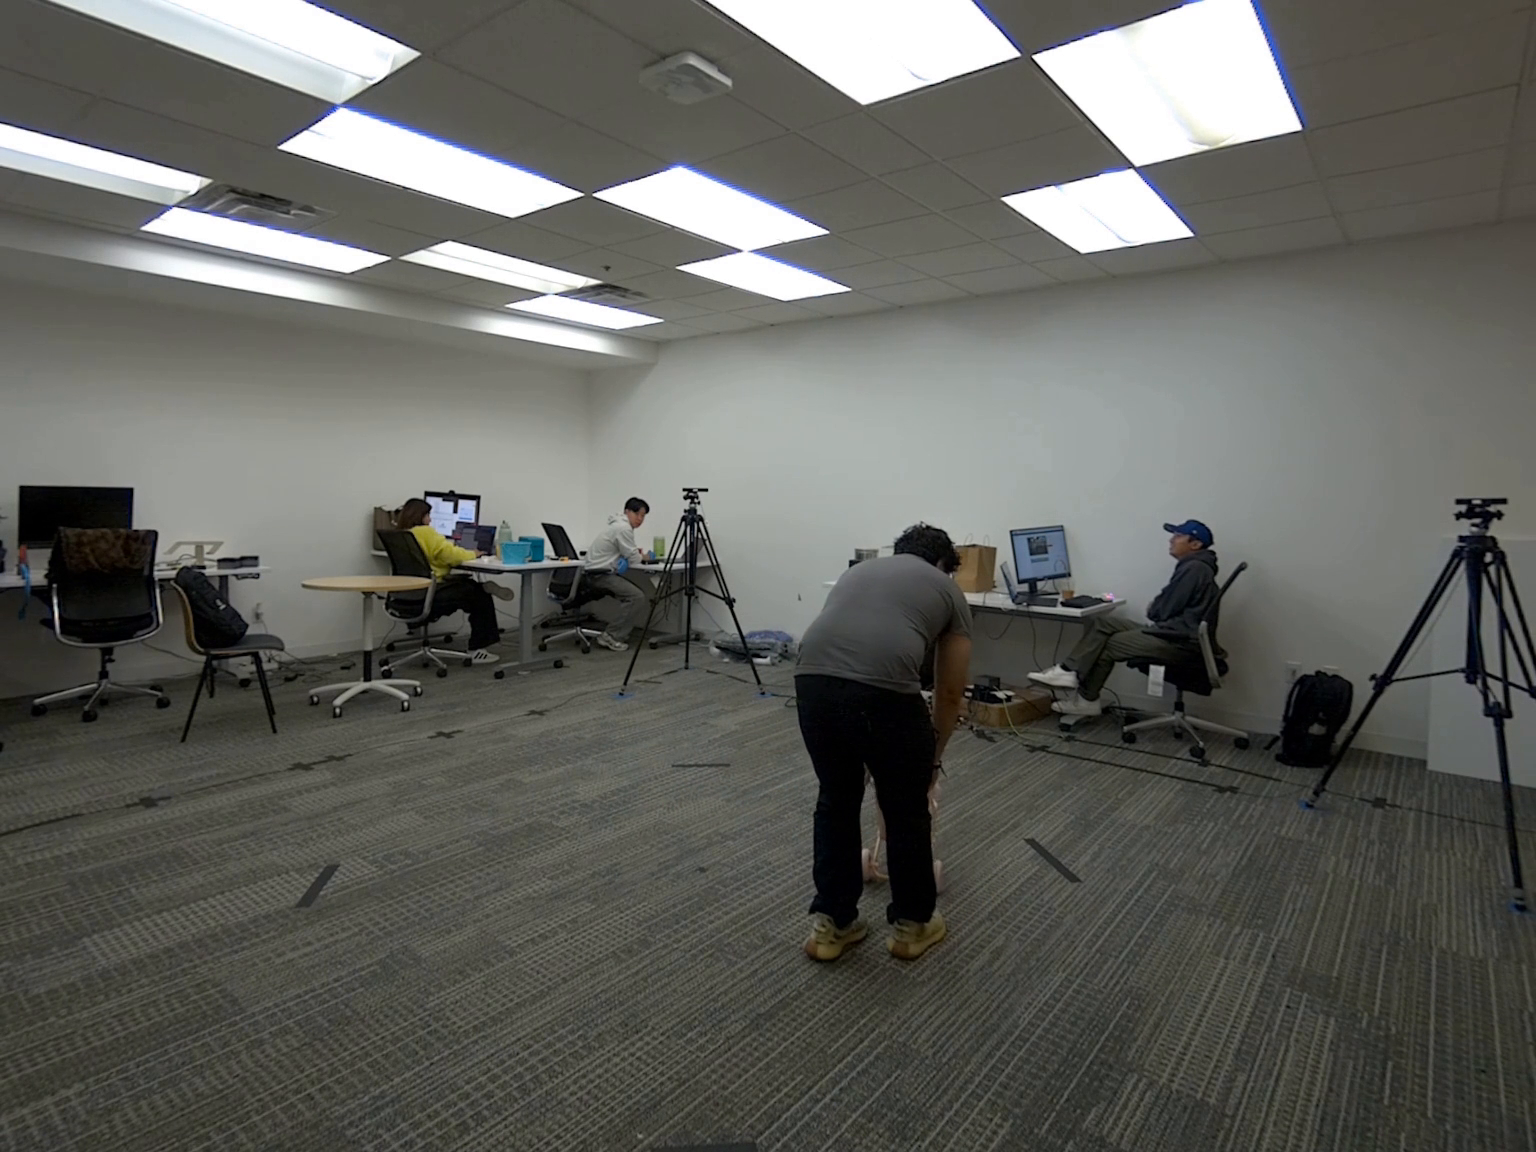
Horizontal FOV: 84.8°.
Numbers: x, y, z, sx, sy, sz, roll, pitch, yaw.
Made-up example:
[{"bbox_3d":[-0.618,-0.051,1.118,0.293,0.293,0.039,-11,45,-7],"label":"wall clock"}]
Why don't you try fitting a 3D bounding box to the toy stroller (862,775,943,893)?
[{"bbox_3d":[0.486,0.861,3.061,0.288,0.525,0.340,3,19,21],"label":"toy stroller"}]
